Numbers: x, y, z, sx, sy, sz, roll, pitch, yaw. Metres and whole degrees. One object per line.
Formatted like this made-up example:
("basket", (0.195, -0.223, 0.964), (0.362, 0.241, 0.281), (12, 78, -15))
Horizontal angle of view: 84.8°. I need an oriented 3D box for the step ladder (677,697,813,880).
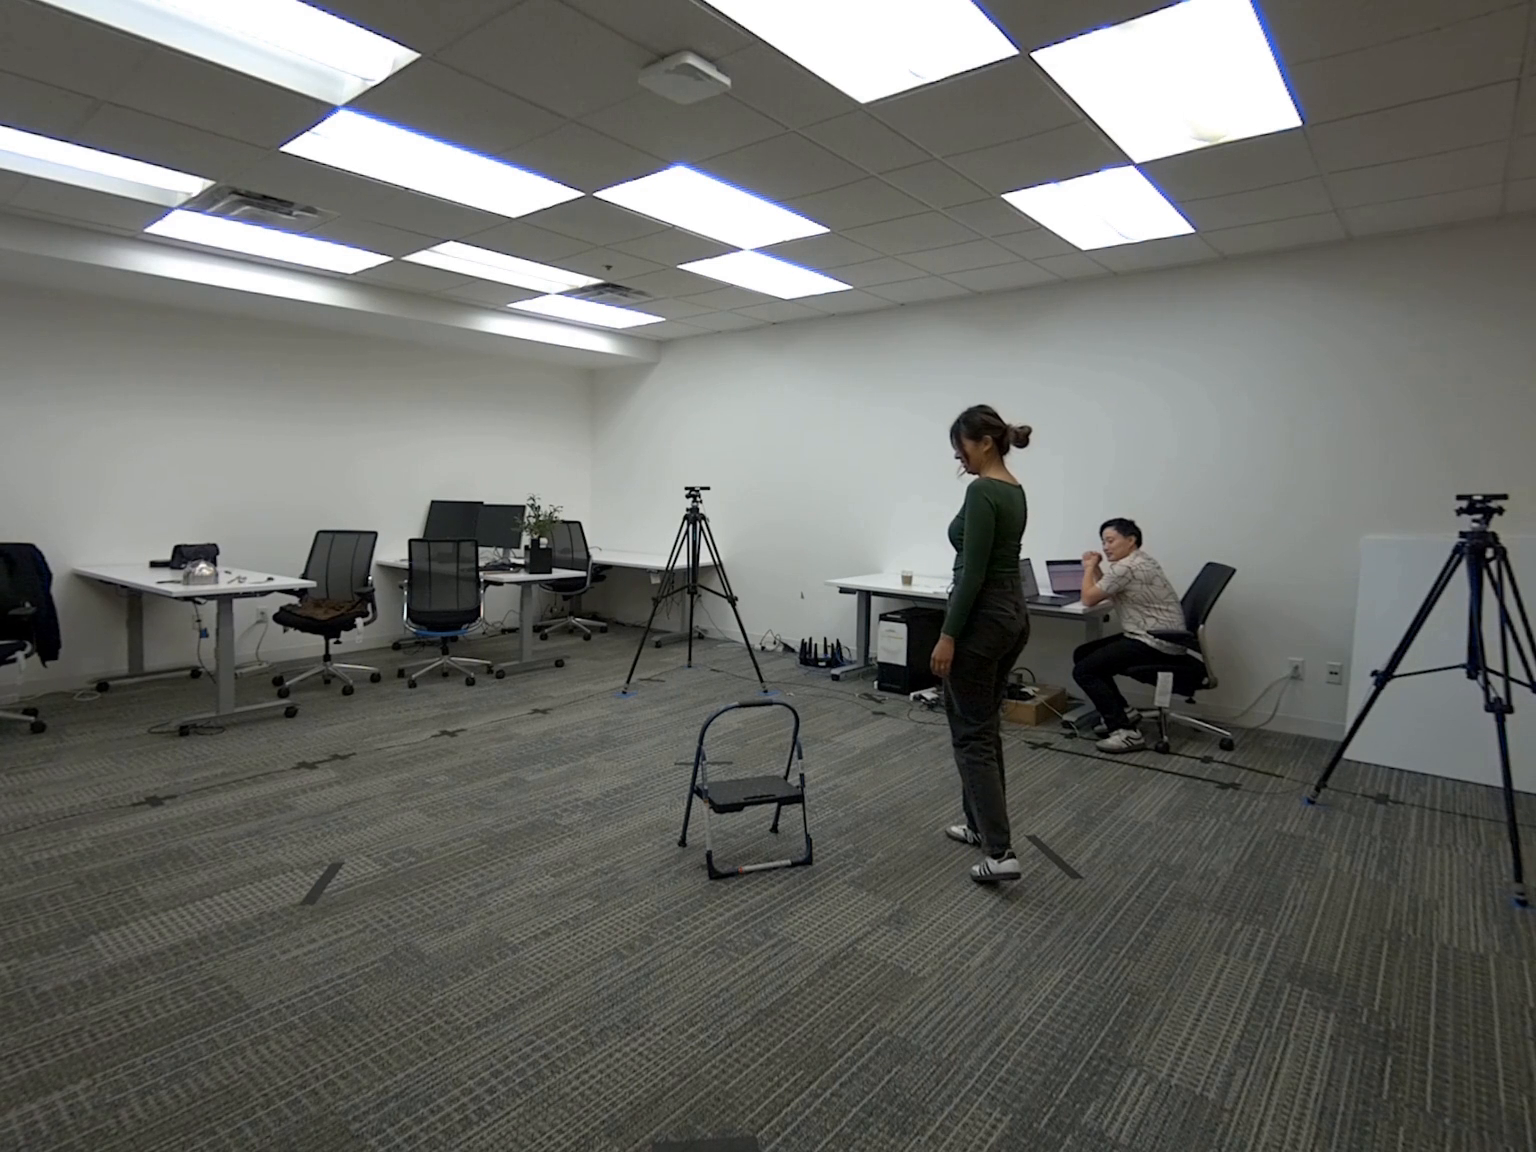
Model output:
("step ladder", (-0.095, 0.752, 3.228), (0.421, 0.604, 0.358), (-1, 4, -23))
